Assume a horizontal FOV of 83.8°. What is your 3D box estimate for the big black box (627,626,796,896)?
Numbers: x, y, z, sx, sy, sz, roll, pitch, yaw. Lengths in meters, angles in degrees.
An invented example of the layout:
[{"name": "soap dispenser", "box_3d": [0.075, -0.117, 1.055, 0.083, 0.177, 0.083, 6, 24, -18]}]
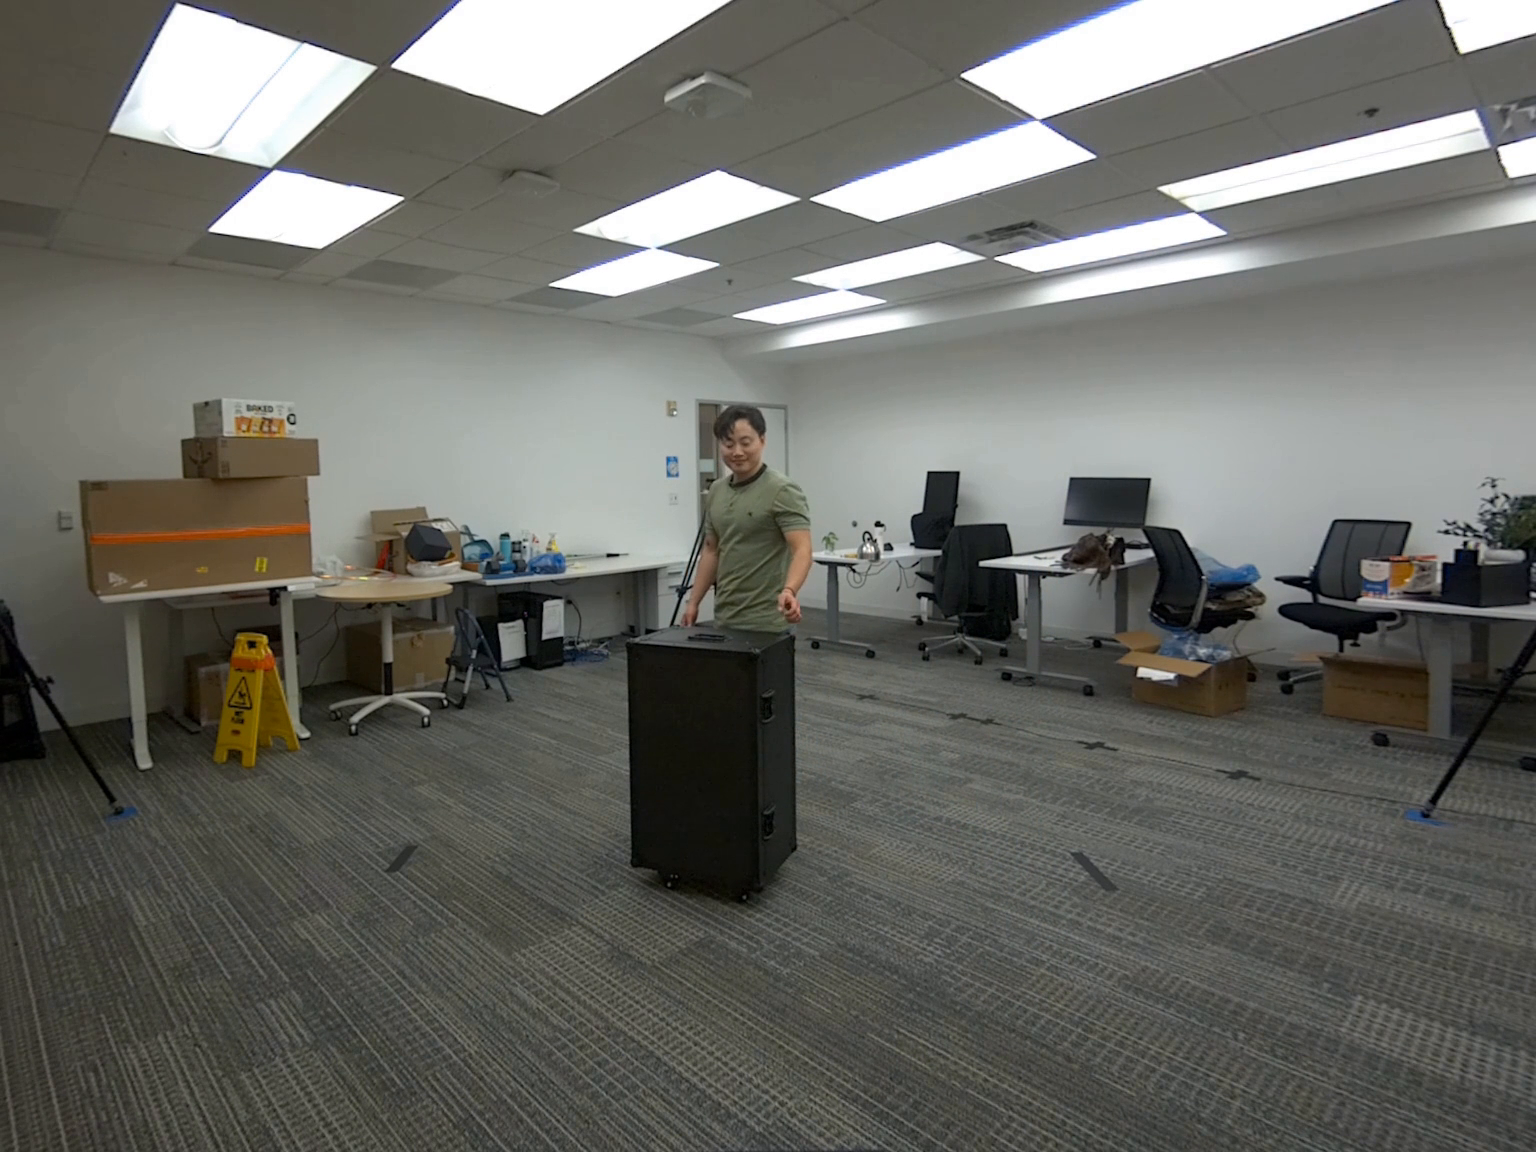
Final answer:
[{"name": "big black box", "box_3d": [-0.190, 0.635, 2.983, 0.533, 0.859, 0.388, 1, 4, 24]}]
